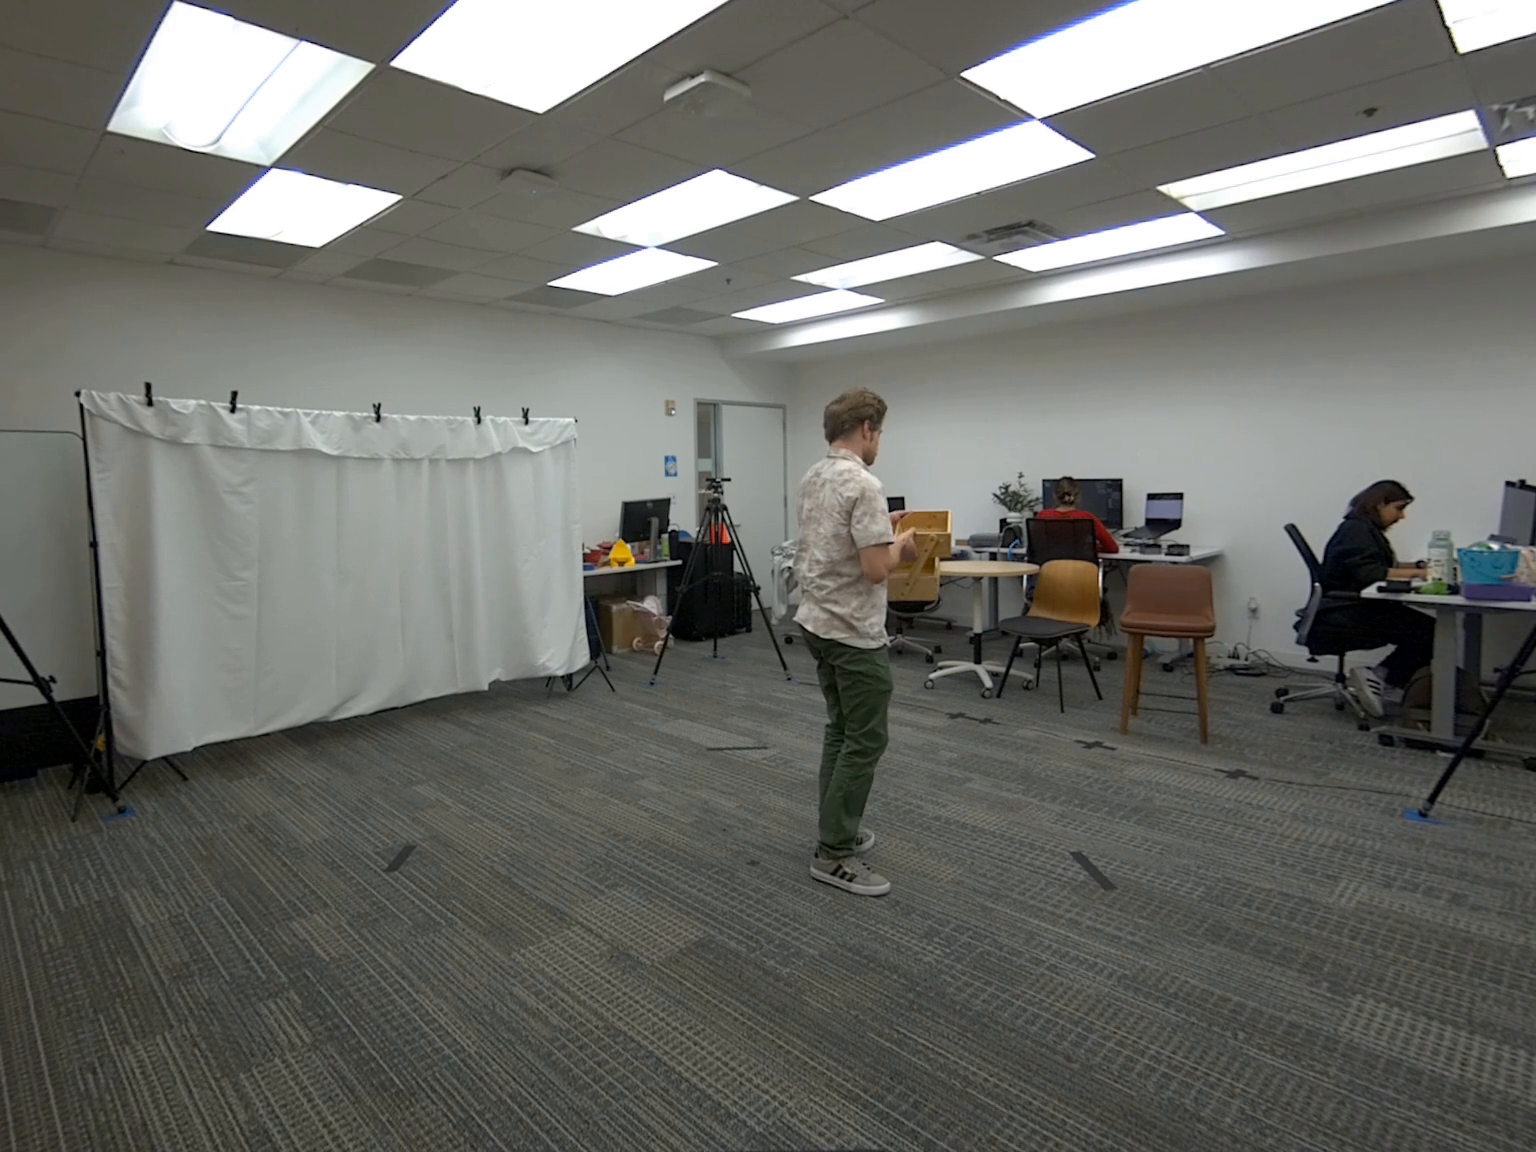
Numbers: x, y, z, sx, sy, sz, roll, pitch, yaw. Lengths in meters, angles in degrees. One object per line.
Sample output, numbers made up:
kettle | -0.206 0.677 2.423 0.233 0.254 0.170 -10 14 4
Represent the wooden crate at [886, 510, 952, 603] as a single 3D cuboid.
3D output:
wooden crate | 0.543 -0.086 3.281 0.306 0.269 0.325 -1 18 15
